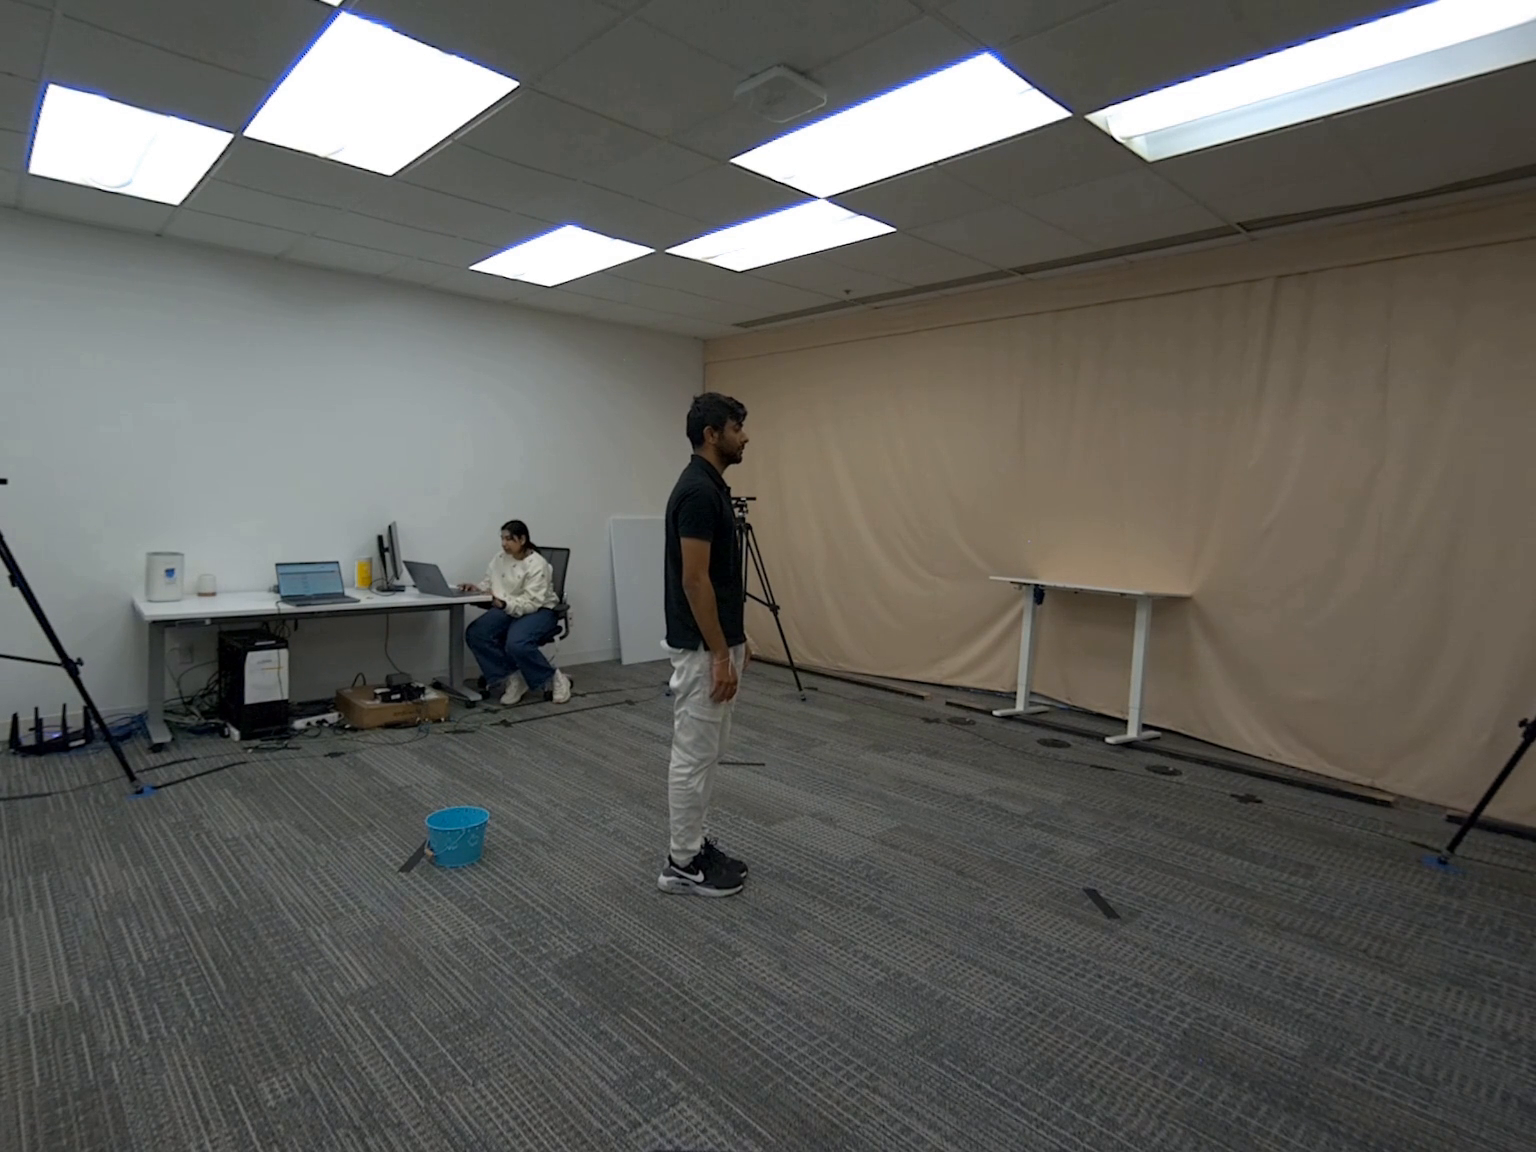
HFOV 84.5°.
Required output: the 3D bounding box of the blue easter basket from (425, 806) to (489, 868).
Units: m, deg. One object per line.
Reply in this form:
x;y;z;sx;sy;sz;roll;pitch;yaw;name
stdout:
-1.187;0.988;3.222;0.243;0.155;0.244;2;5;-2;blue easter basket
